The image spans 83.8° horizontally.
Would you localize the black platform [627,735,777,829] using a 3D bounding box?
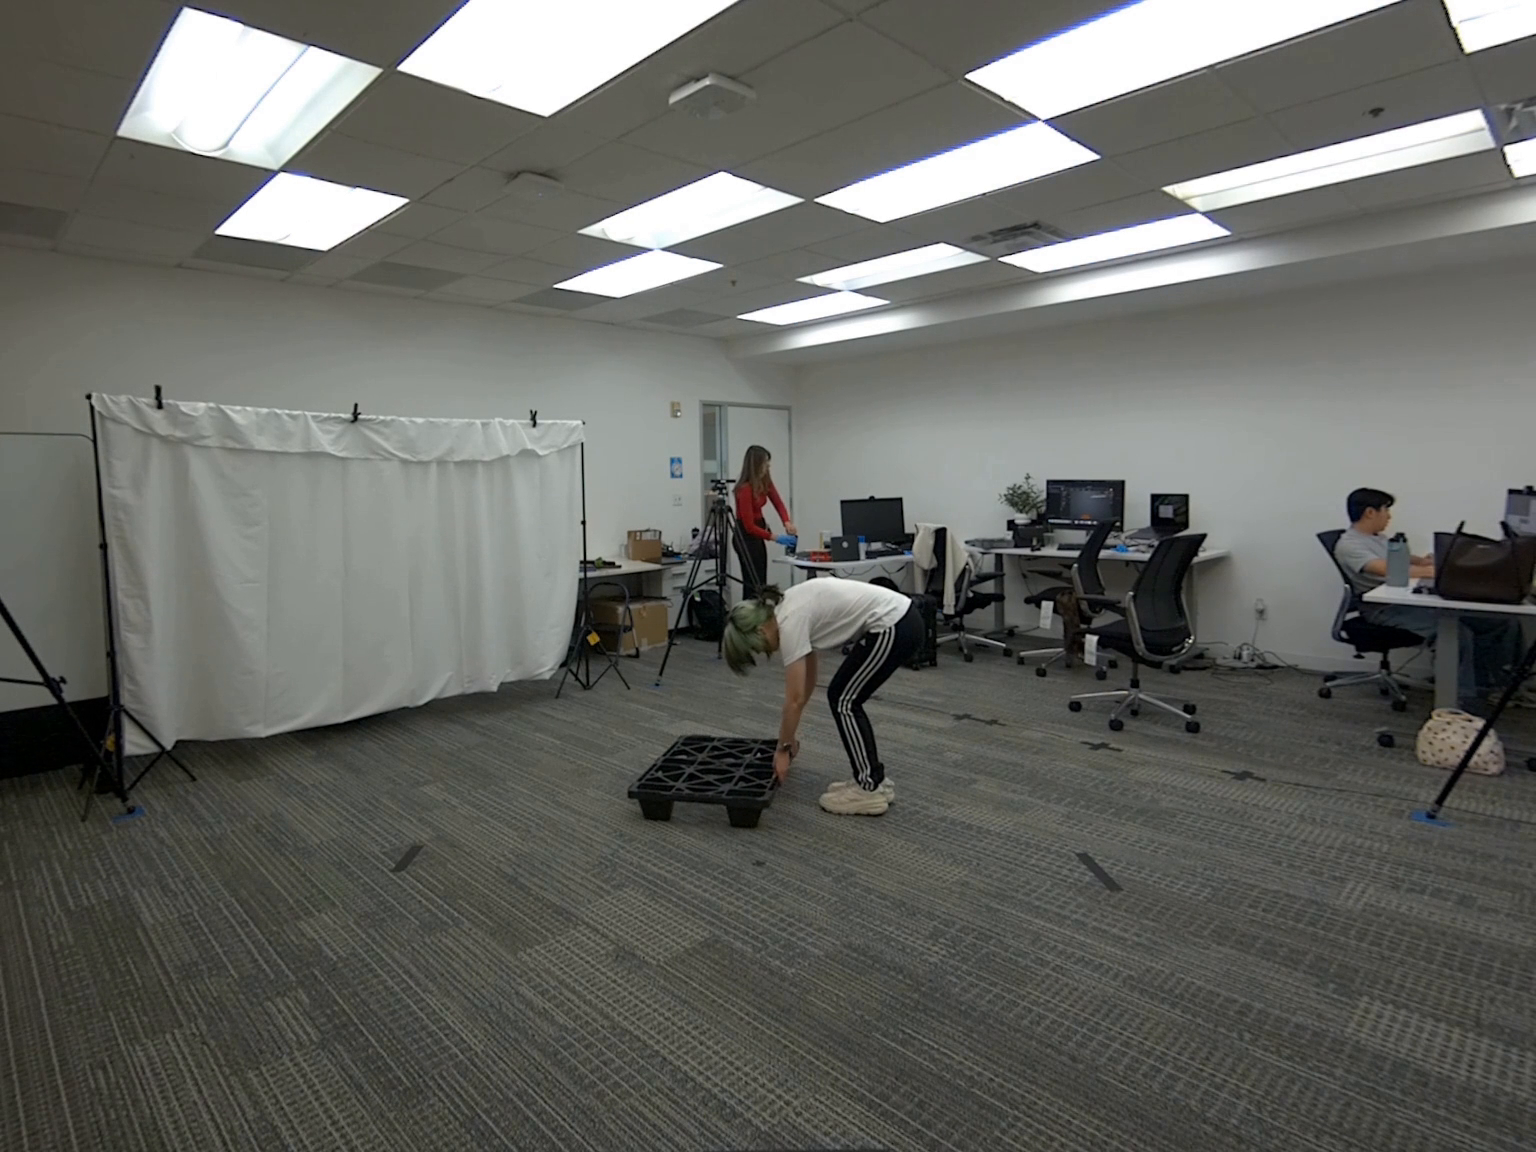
[{"bbox_3d":[-0.211,0.901,3.825,0.613,0.143,0.799,-1,6,12],"label":"black platform"}]
